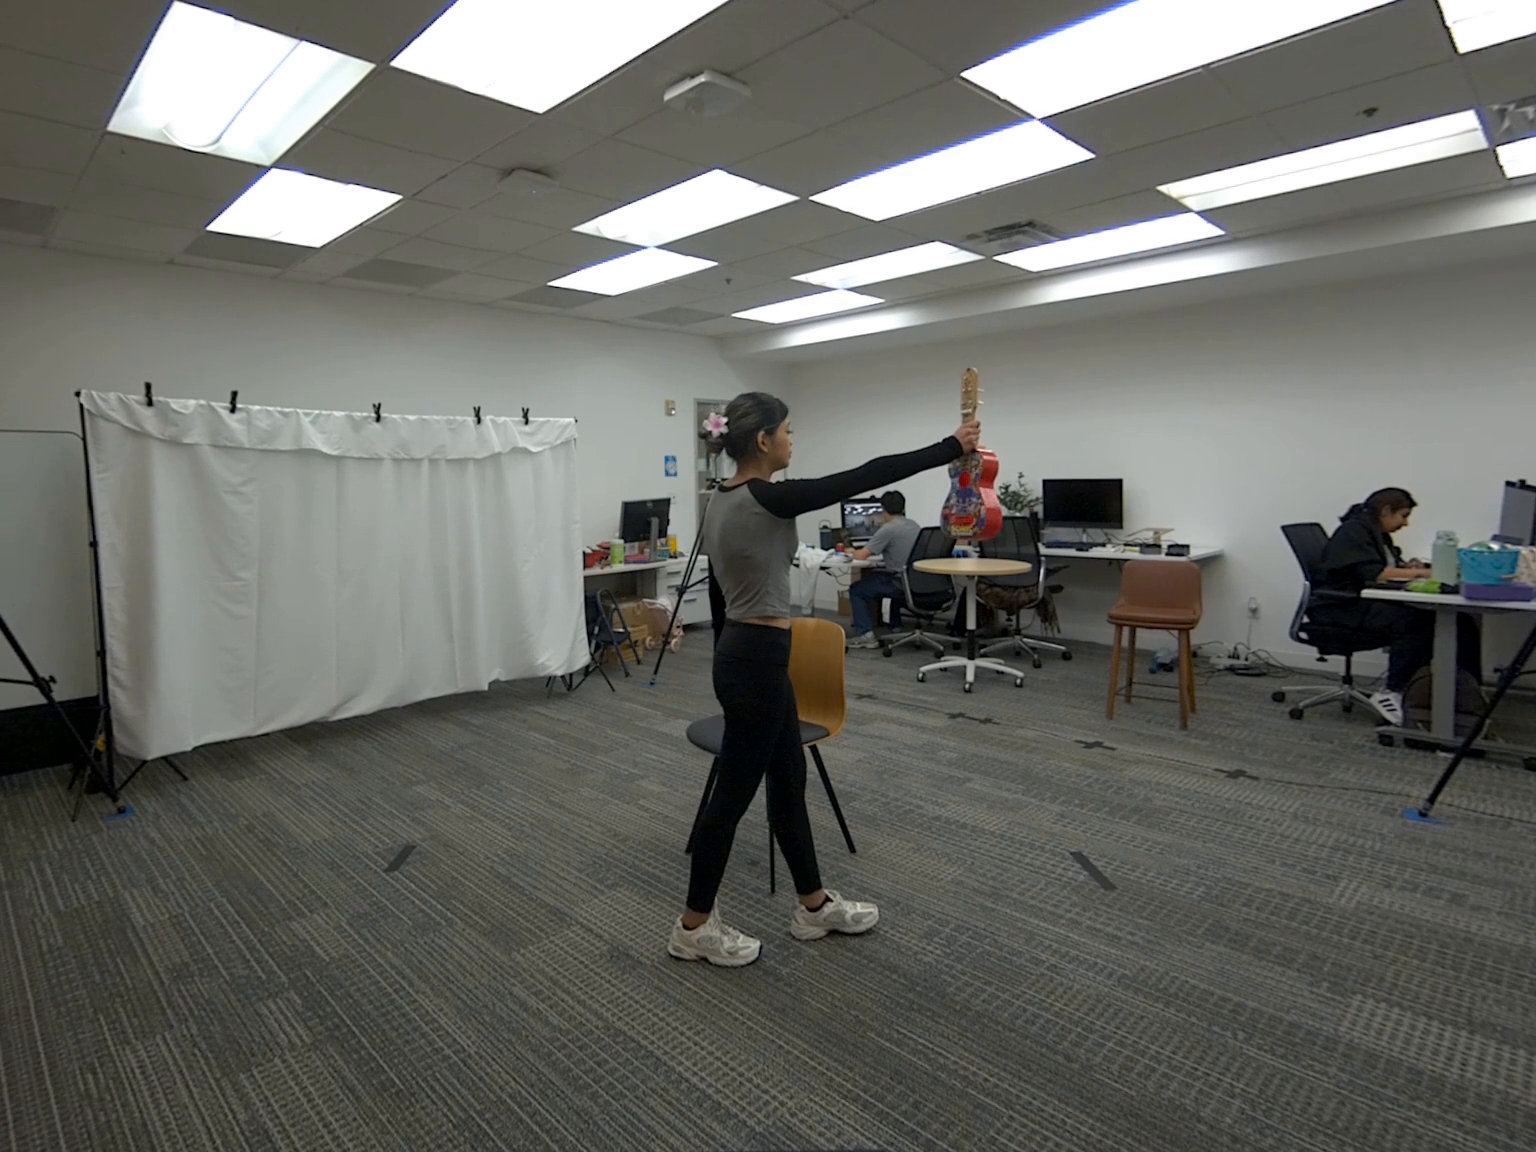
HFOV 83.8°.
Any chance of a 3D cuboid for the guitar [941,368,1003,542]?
[{"bbox_3d":[0.617,-0.345,2.468,0.069,0.495,0.199,4,7,-29],"label":"guitar"}]
